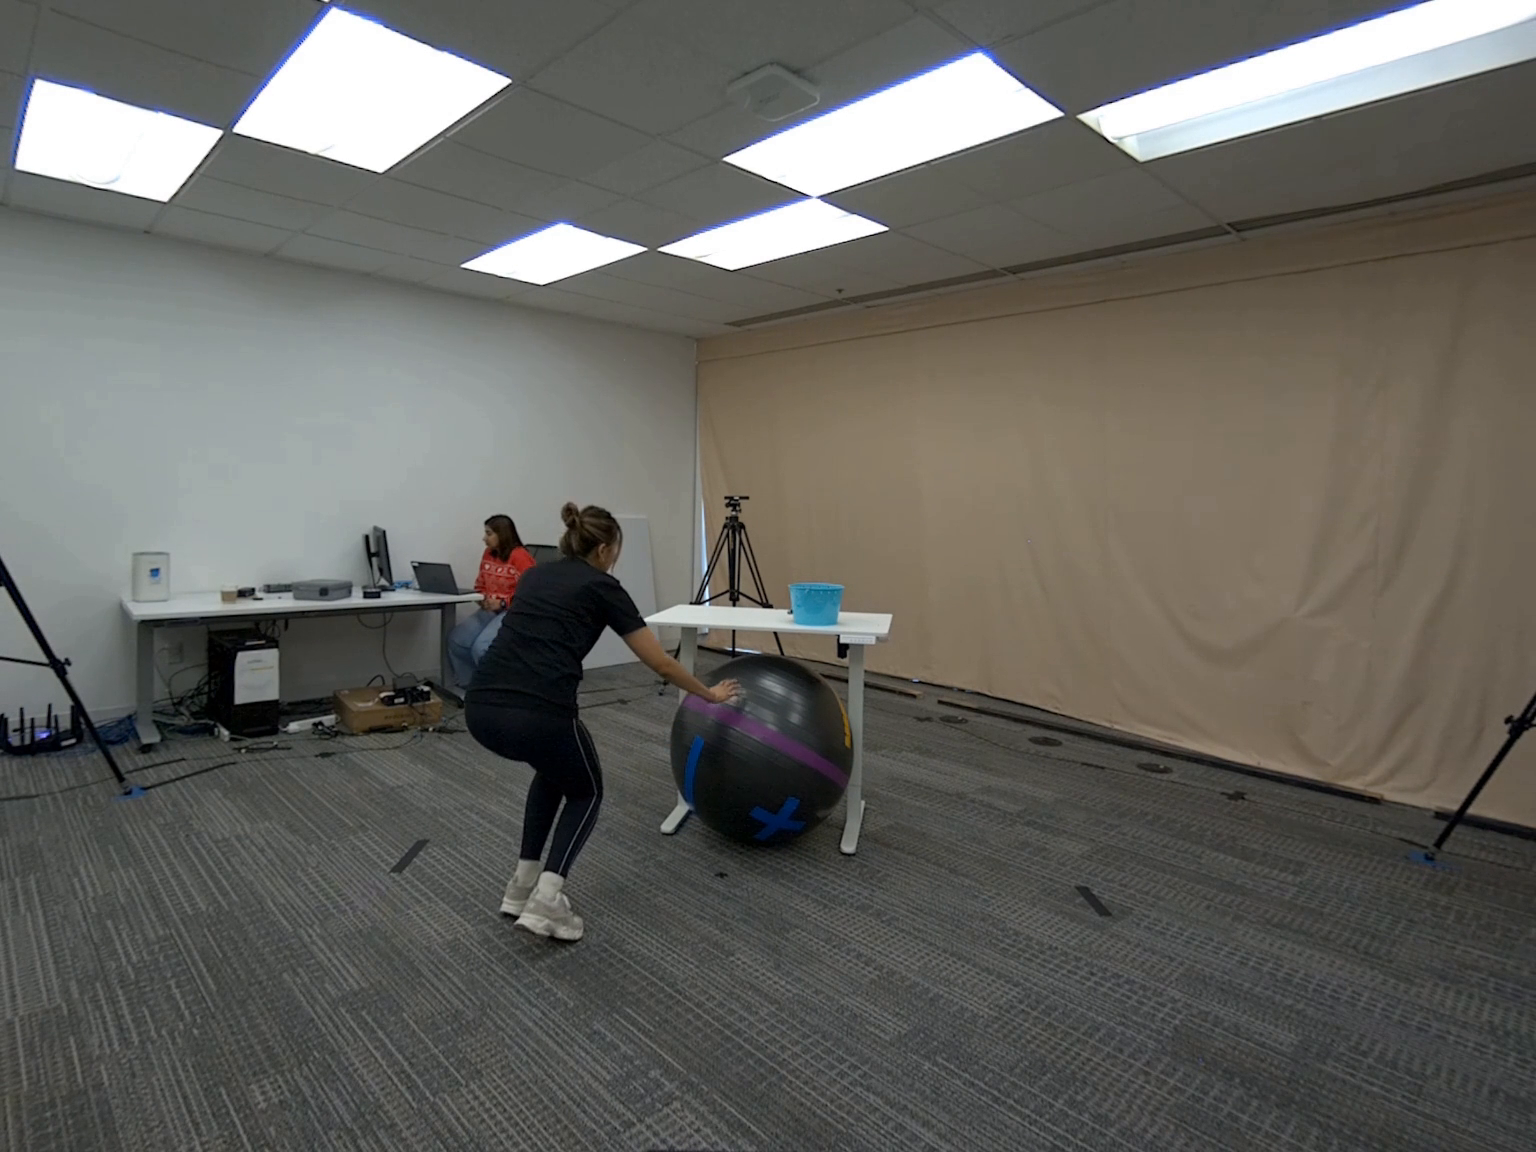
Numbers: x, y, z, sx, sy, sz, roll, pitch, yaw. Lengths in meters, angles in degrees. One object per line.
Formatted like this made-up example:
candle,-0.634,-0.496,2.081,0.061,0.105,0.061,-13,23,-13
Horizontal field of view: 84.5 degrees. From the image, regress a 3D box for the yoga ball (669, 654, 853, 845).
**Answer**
yoga ball,-0.030,0.721,3.475,0.757,0.756,0.761,1,4,-1
